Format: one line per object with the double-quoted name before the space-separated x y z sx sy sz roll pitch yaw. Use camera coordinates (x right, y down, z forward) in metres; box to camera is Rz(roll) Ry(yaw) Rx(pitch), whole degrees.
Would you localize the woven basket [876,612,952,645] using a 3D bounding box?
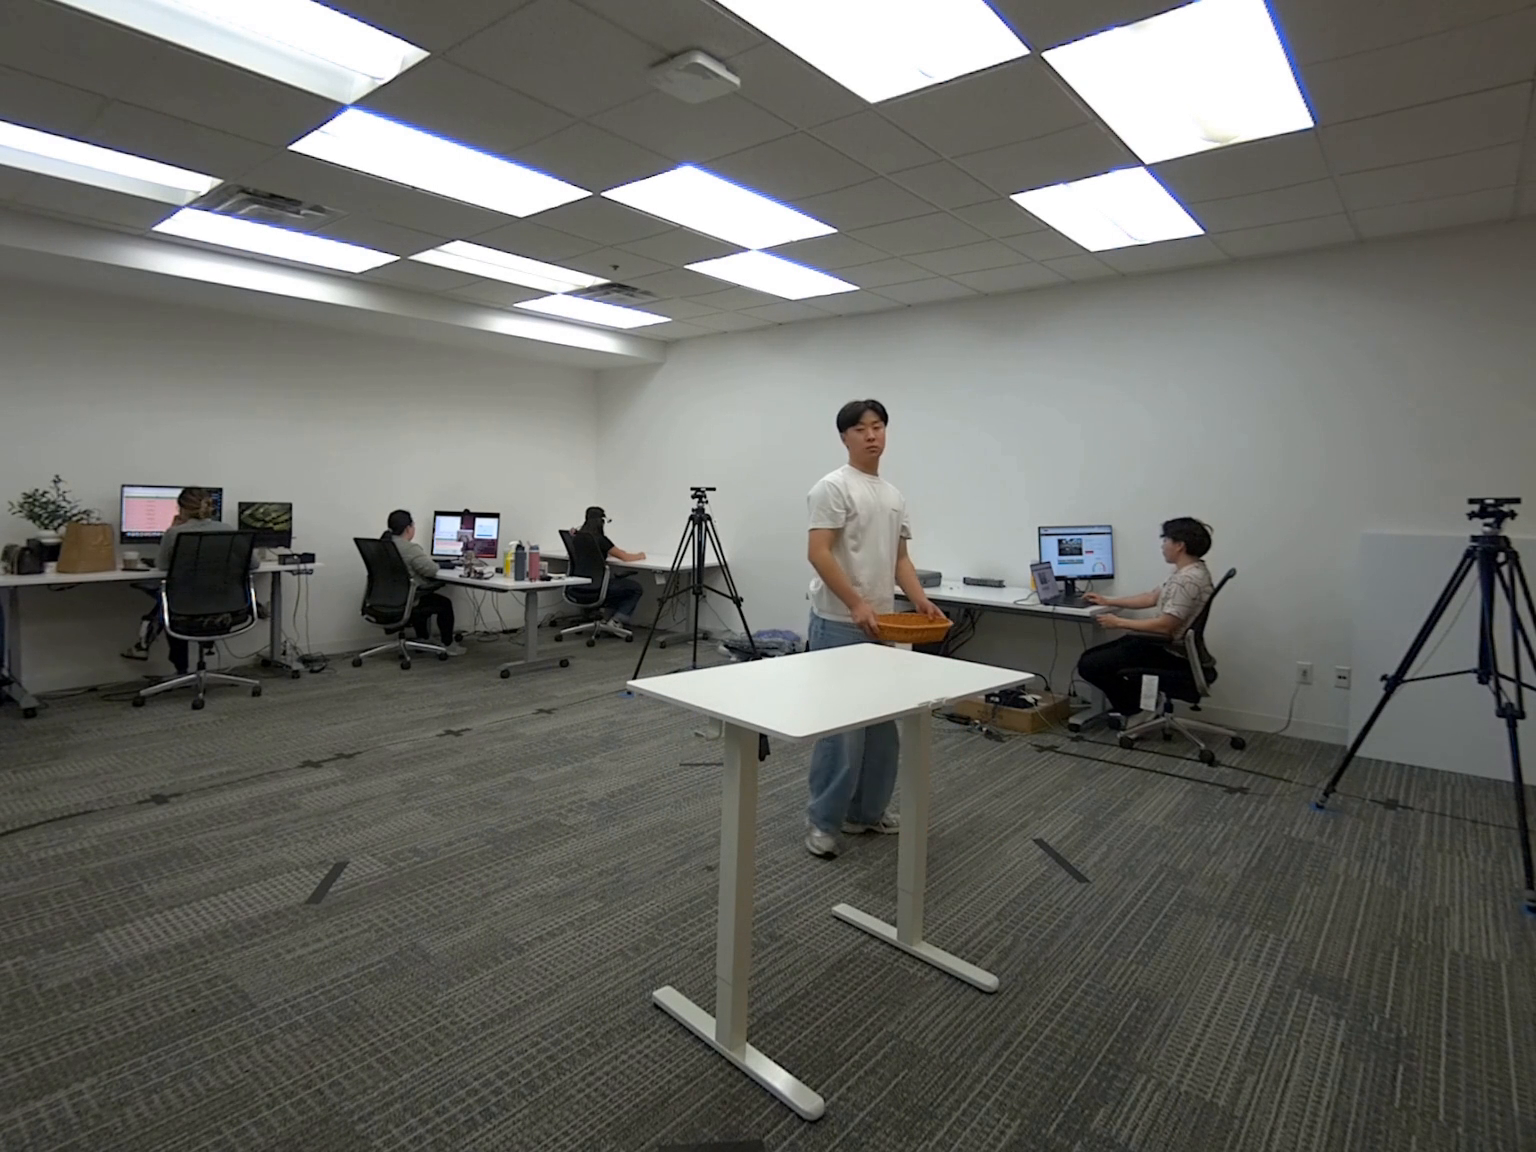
"woven basket" 0.531 0.193 3.215 0.341 0.073 0.261 -4 9 -34
